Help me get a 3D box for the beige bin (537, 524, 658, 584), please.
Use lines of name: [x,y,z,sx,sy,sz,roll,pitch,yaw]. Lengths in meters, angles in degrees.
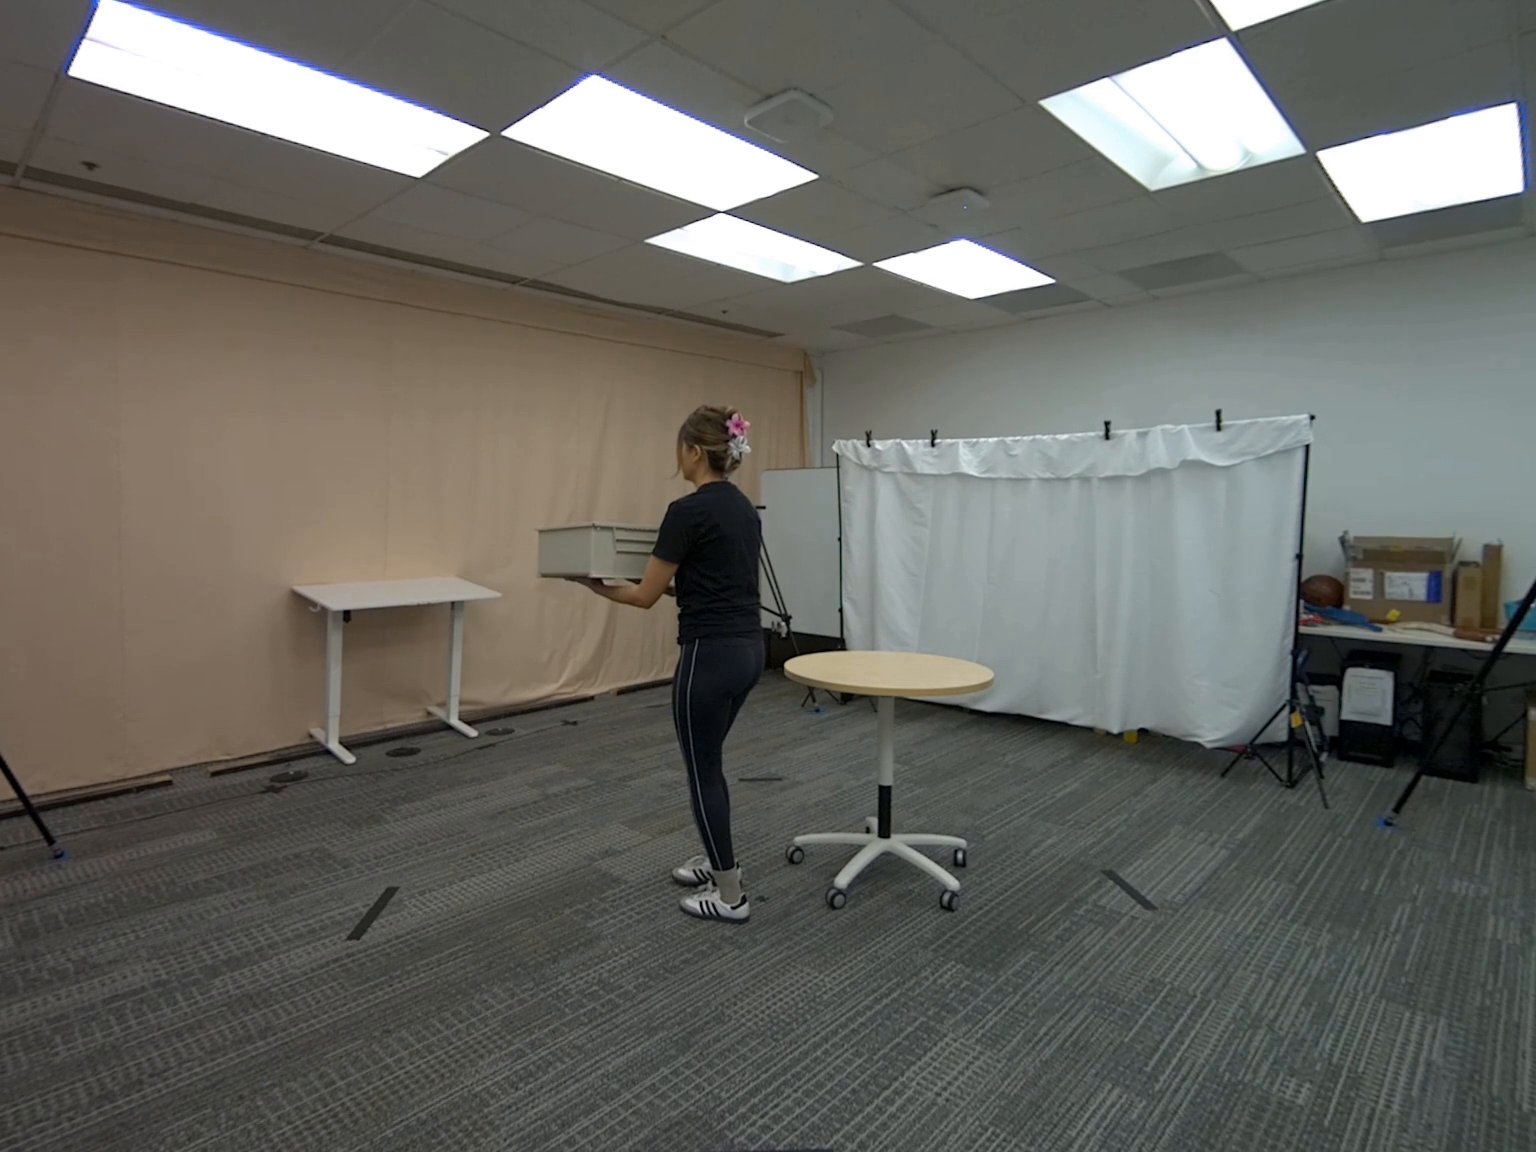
beige bin: [-0.561,-0.075,2.982,0.365,0.189,0.435,1,-1,-40]
